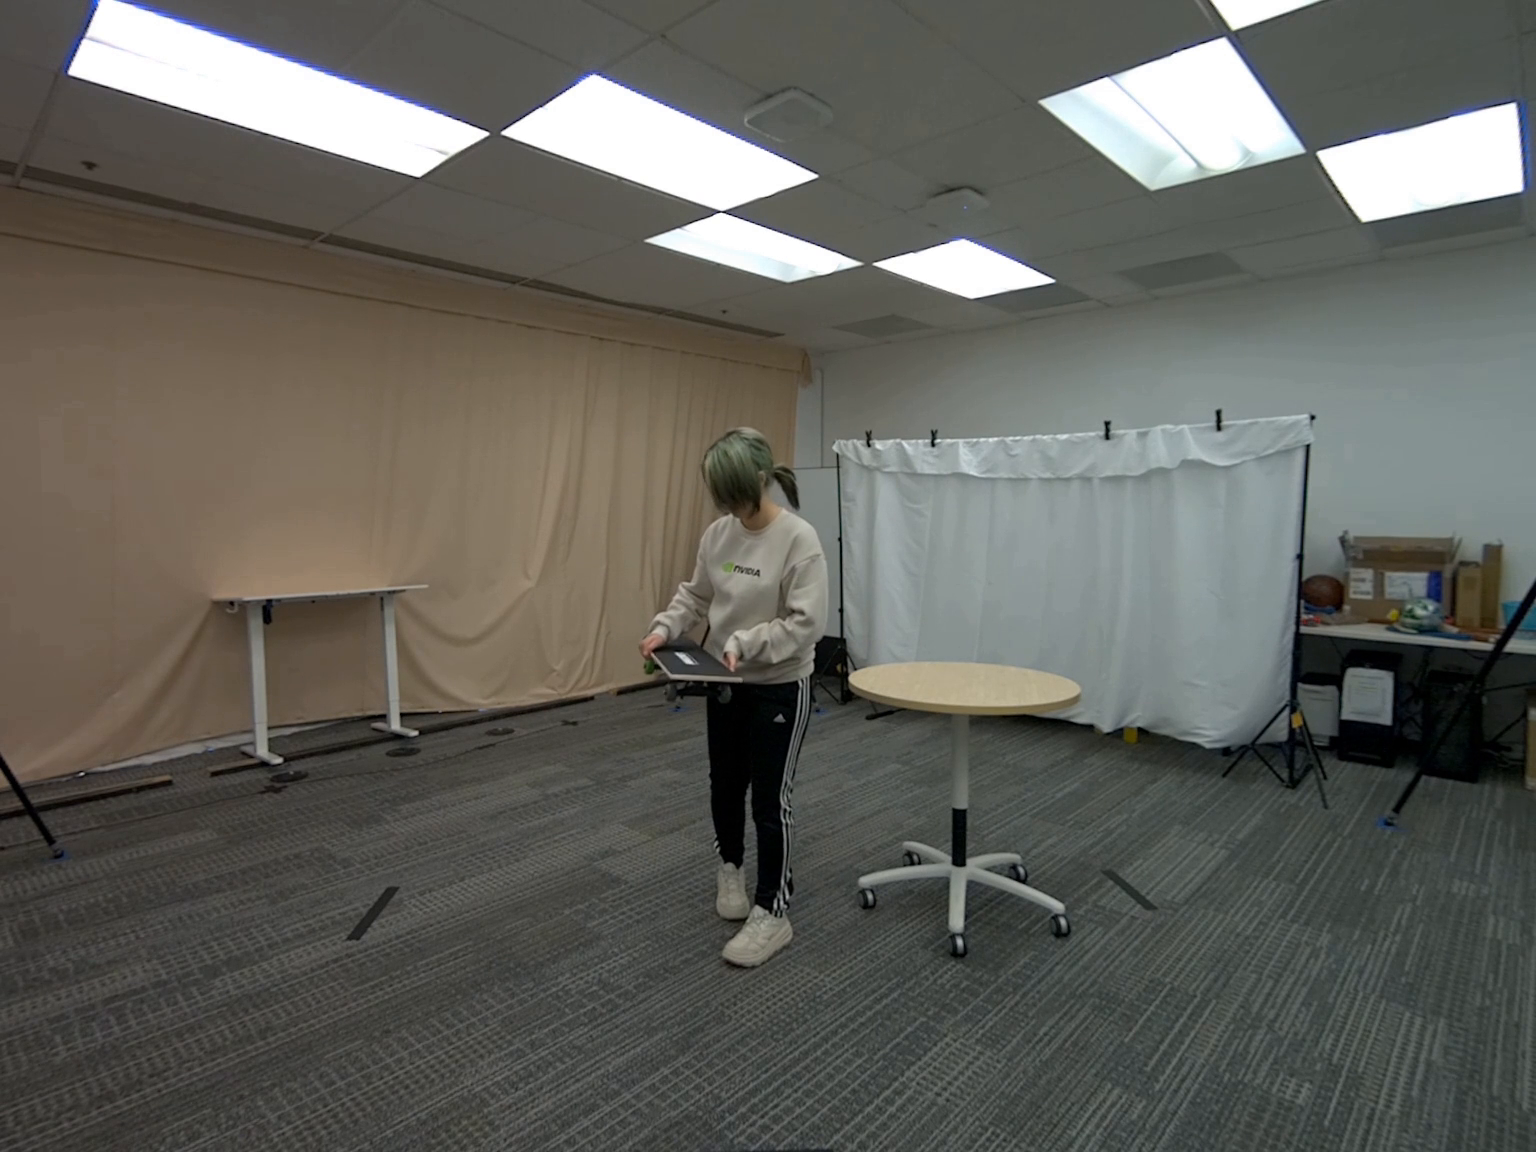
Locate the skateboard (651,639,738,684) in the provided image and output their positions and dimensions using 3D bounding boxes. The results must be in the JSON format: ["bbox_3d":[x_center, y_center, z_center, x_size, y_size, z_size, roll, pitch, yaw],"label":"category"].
[{"bbox_3d":[-0.253,0.289,2.533,0.190,0.110,0.800,4,3,-18],"label":"skateboard"}]
